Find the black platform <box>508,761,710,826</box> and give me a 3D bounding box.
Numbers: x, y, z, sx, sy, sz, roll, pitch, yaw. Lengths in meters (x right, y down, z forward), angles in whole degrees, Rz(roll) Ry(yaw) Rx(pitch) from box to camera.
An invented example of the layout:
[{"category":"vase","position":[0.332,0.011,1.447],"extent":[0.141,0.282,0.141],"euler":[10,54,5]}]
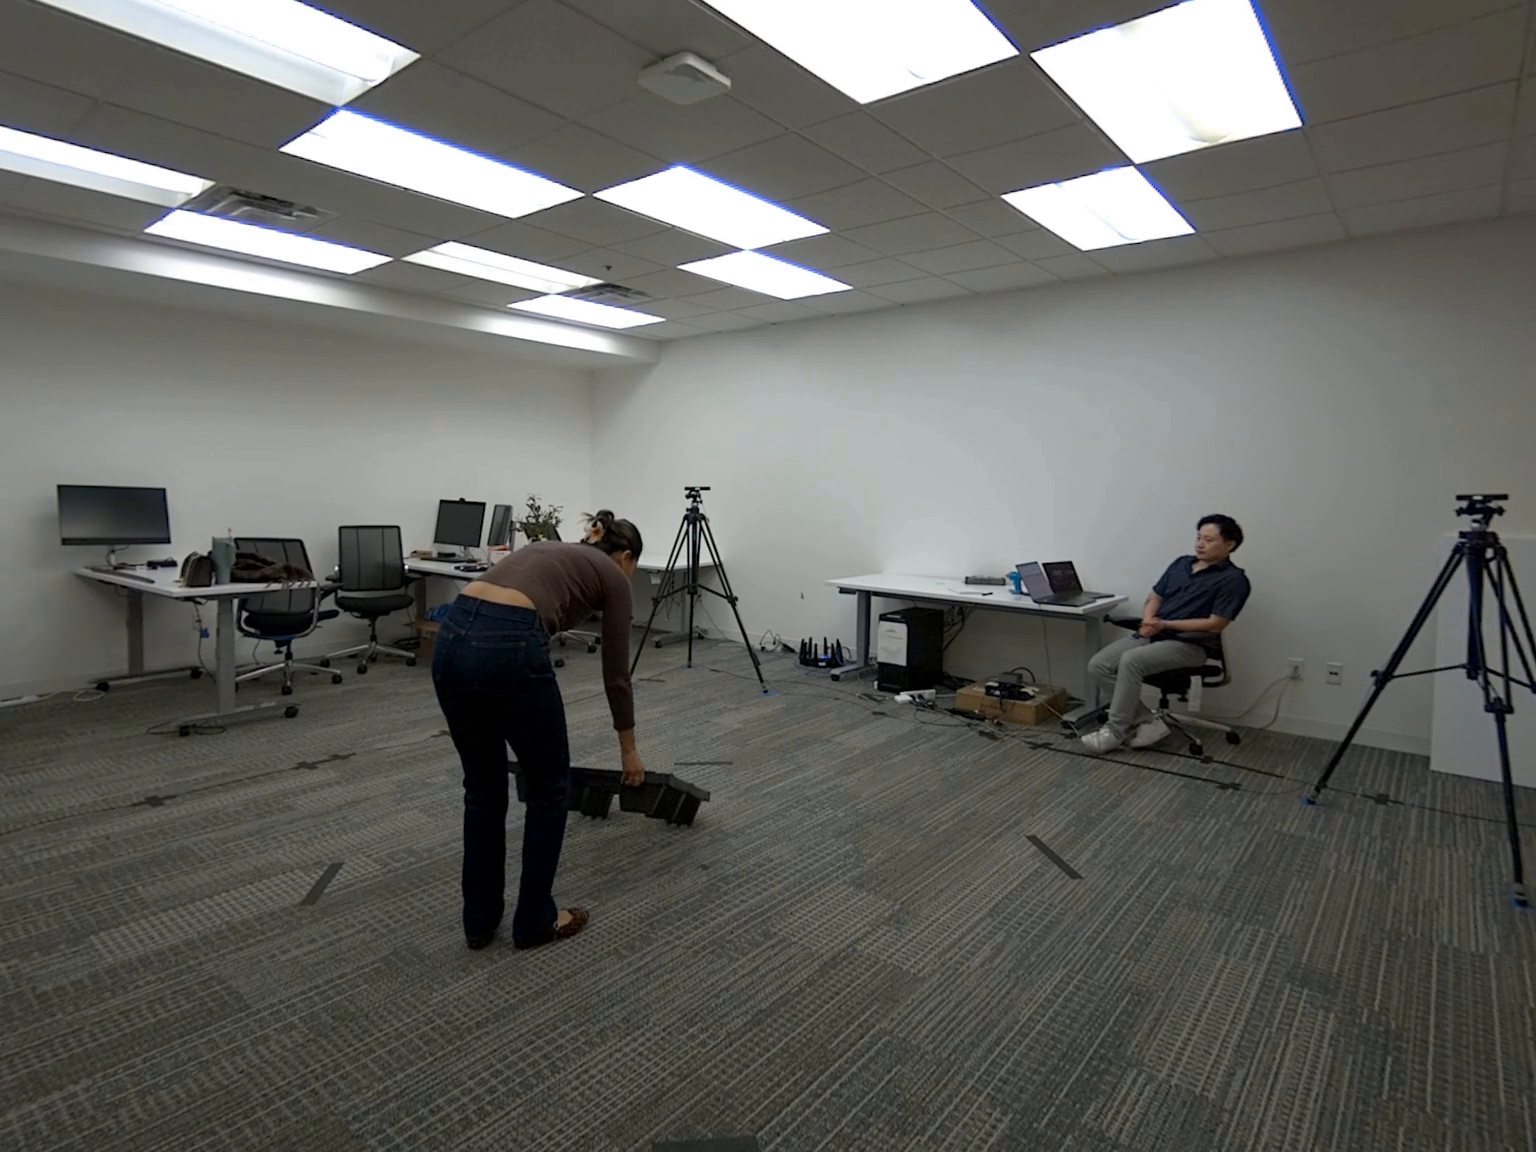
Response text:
[{"category":"black platform","position":[-0.601,0.839,3.247],"extent":[0.612,0.146,0.783],"euler":[2,-19,9]}]
